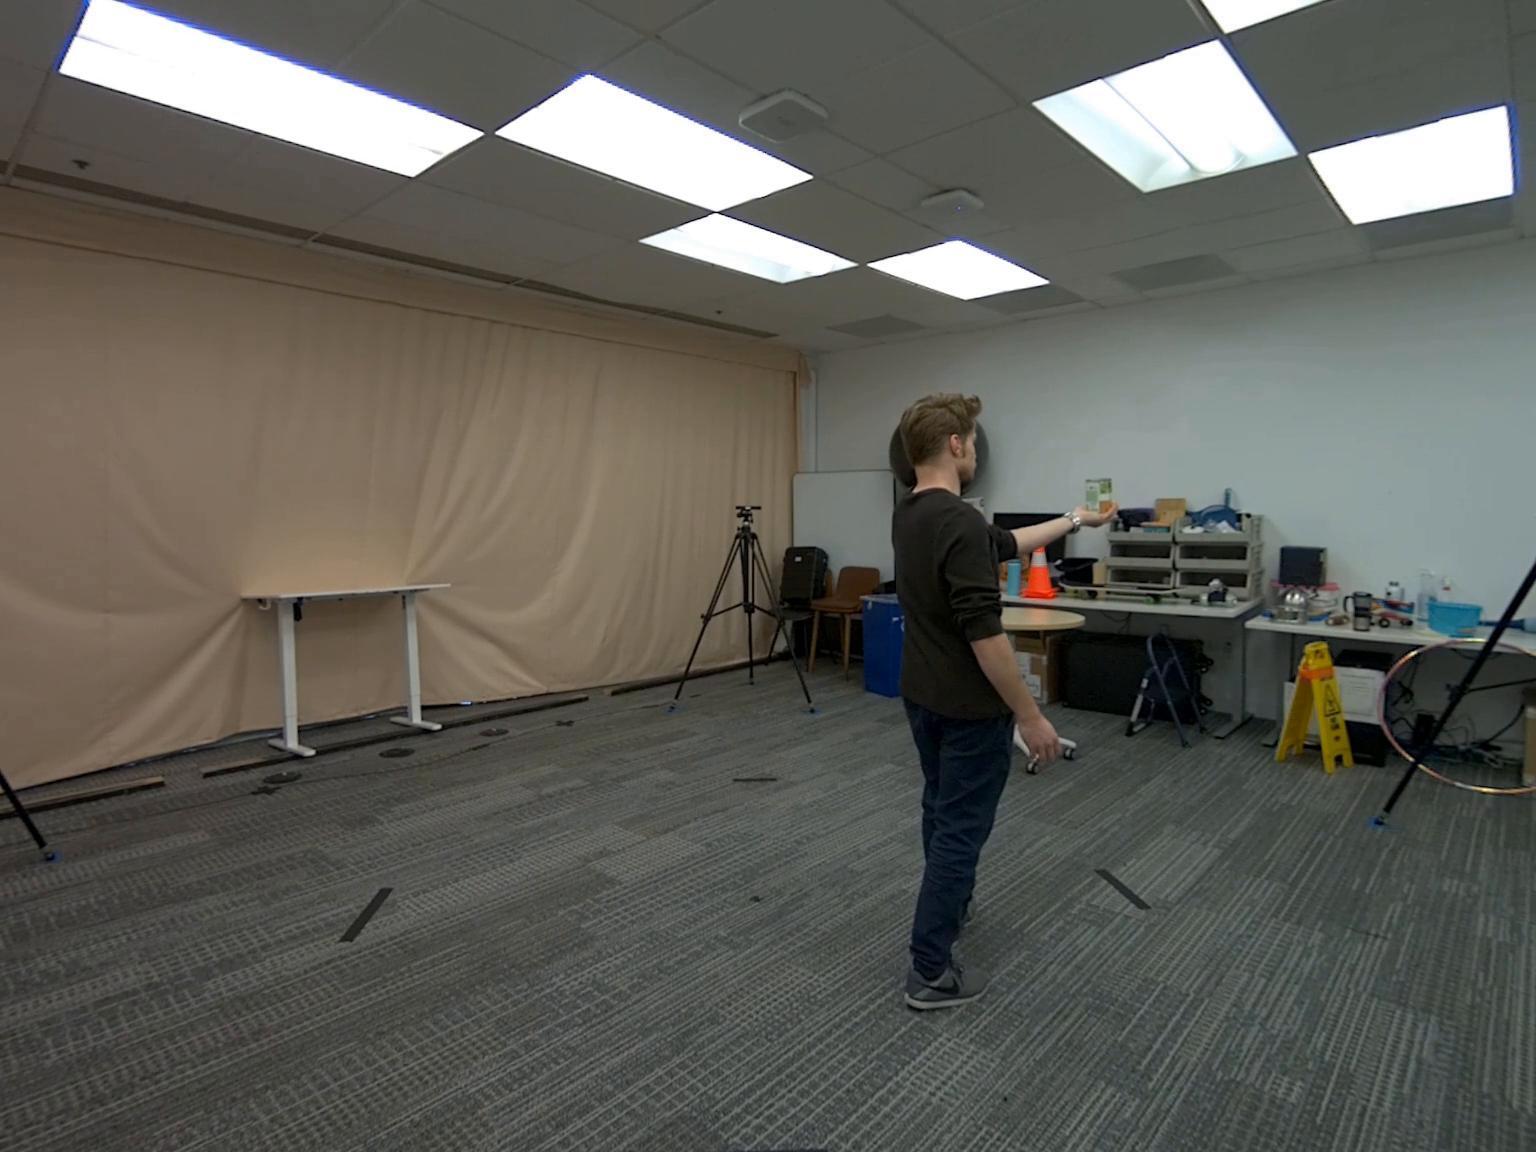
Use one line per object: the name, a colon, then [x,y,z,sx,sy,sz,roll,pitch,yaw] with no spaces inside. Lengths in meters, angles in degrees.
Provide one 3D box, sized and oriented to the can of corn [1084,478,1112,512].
can of corn: [1.080,-0.250,2.670,0.074,0.111,0.074,-3,3,-2]
